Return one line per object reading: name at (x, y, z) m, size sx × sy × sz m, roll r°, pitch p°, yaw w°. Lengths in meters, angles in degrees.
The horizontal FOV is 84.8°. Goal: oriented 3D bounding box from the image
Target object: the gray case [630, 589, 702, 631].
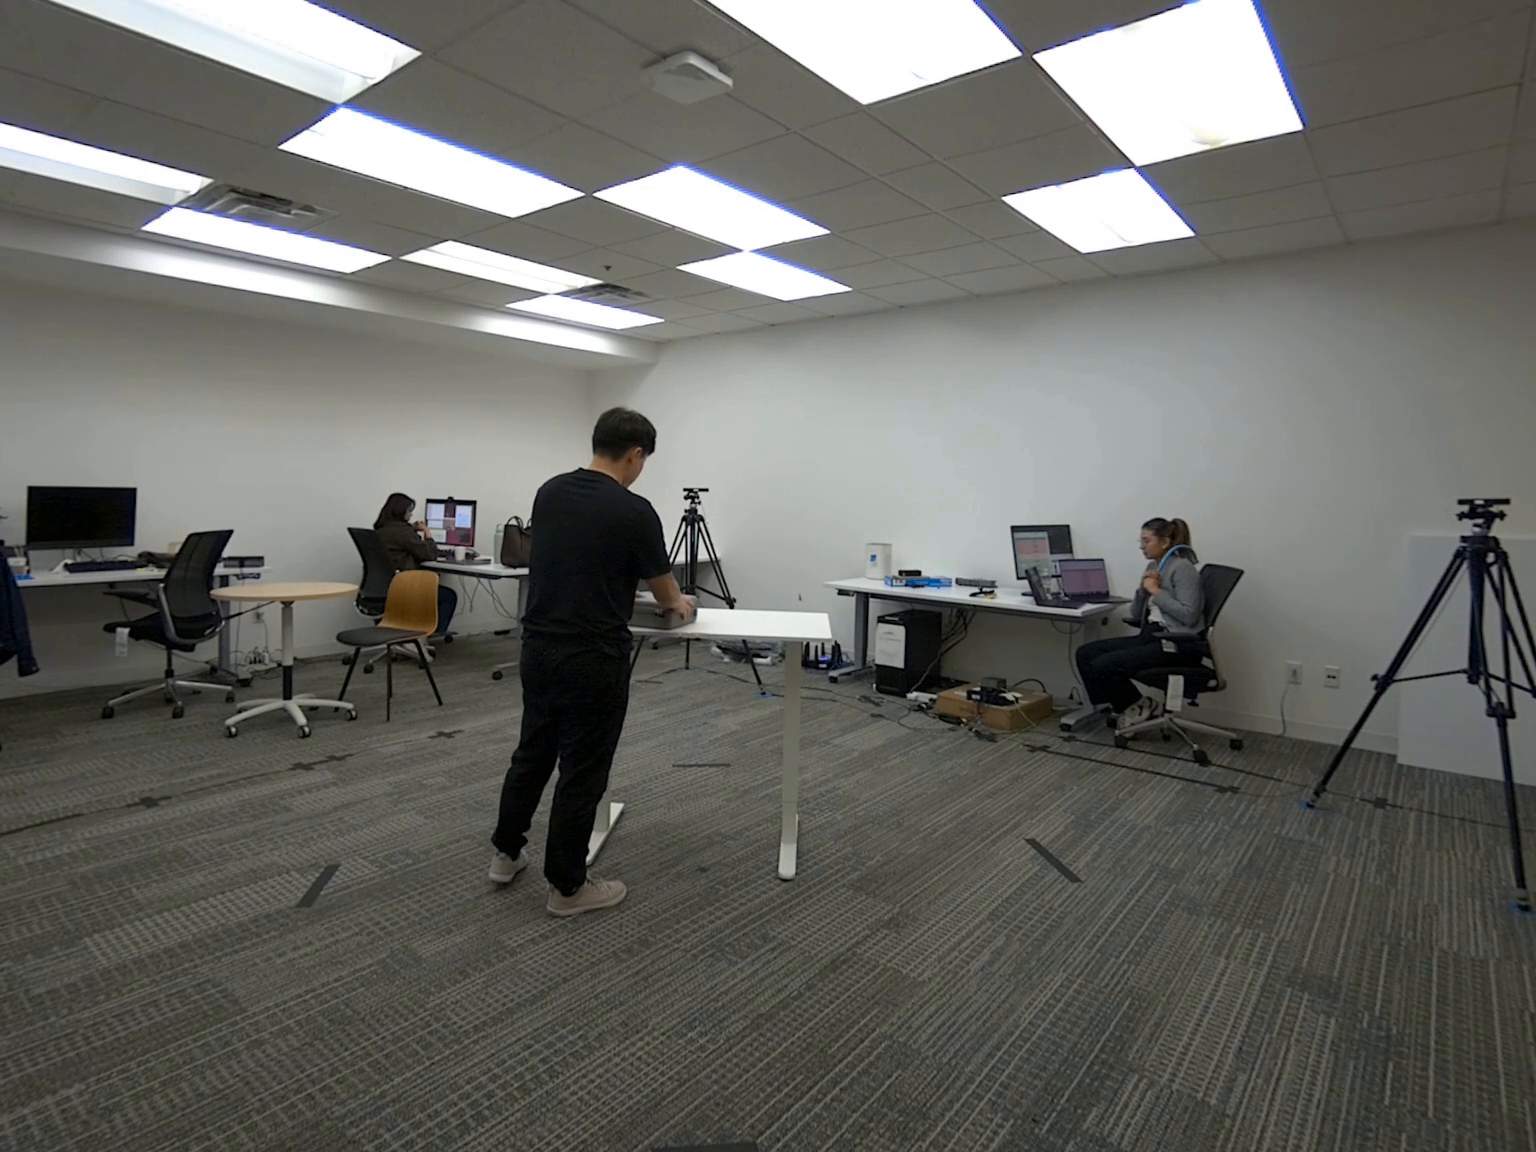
gray case at (-0.427, 0.124, 3.205) m, size 0.263 × 0.104 × 0.255 m, roll 2°, pitch 6°, yaw 23°
